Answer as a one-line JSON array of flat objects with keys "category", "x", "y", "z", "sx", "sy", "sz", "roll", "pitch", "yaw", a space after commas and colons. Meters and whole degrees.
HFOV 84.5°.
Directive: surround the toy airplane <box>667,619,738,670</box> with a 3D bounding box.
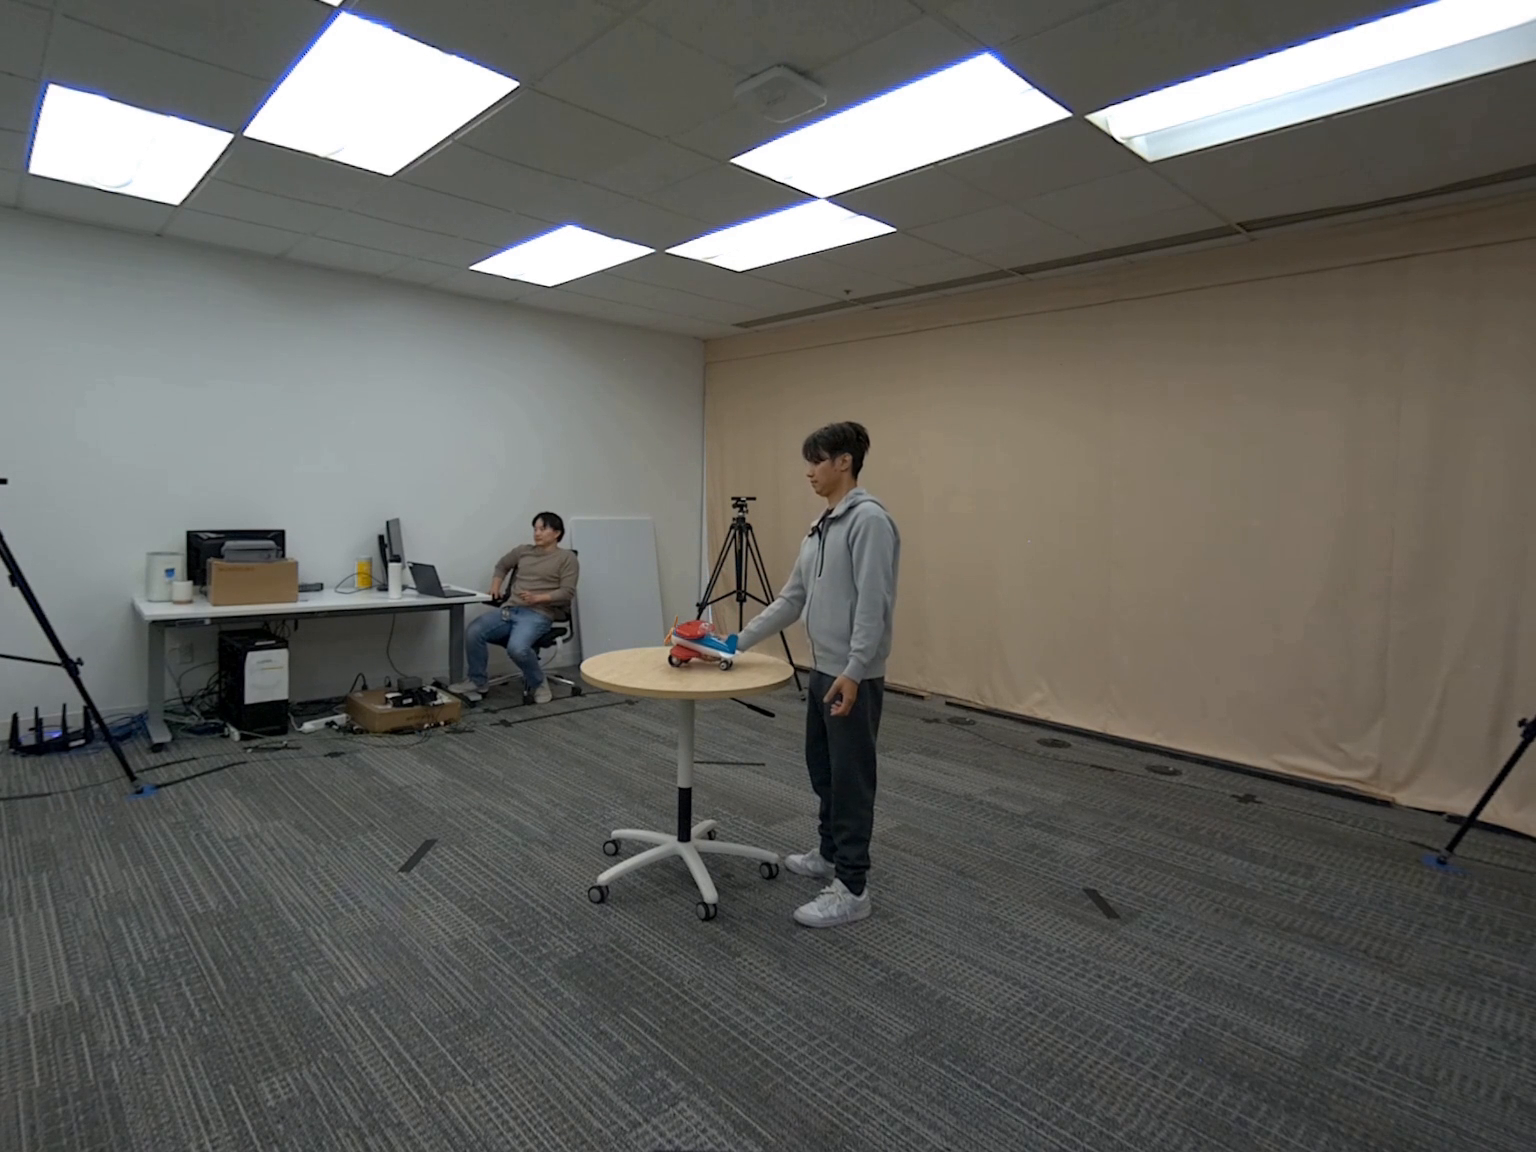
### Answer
[{"category": "toy airplane", "x": -0.235, "y": 0.248, "z": 3.044, "sx": 0.257, "sy": 0.156, "sz": 0.254, "roll": -2, "pitch": 6, "yaw": -12}]
